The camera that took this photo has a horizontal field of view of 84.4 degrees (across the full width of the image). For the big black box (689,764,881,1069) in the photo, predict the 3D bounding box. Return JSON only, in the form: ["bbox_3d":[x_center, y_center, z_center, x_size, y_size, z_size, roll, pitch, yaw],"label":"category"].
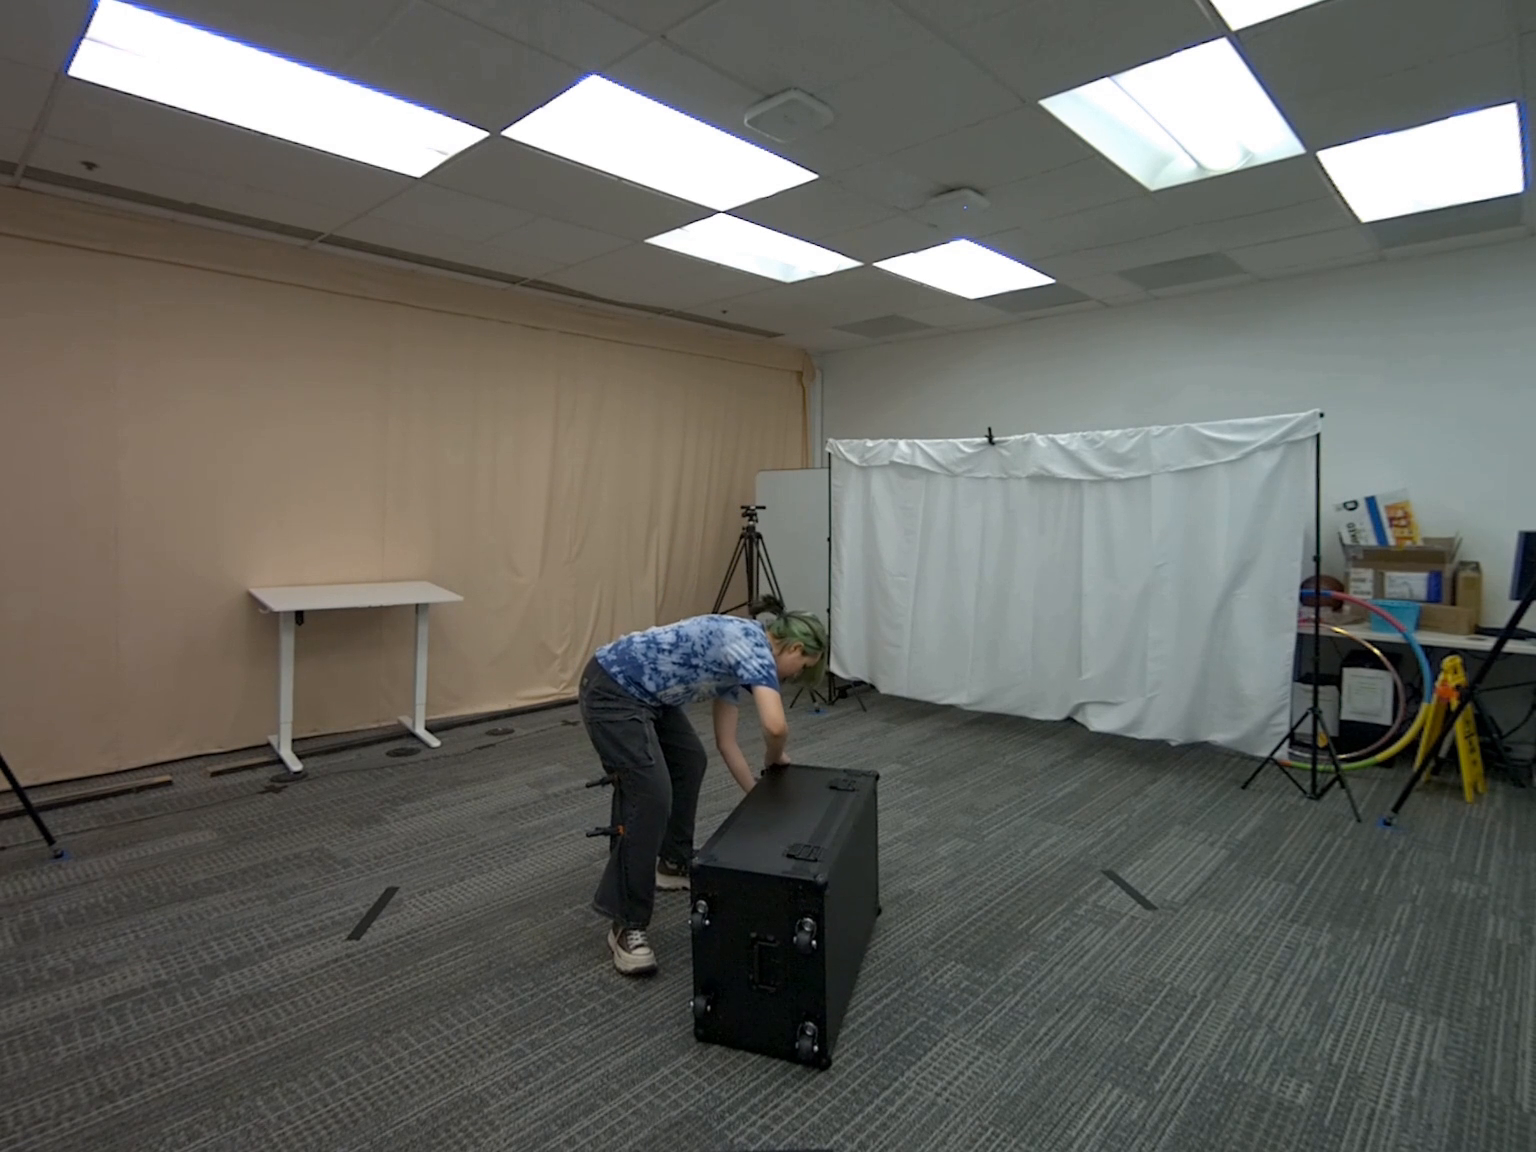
[{"bbox_3d":[0.064,0.920,2.447,0.404,0.519,0.847,0,6,18],"label":"big black box"}]
